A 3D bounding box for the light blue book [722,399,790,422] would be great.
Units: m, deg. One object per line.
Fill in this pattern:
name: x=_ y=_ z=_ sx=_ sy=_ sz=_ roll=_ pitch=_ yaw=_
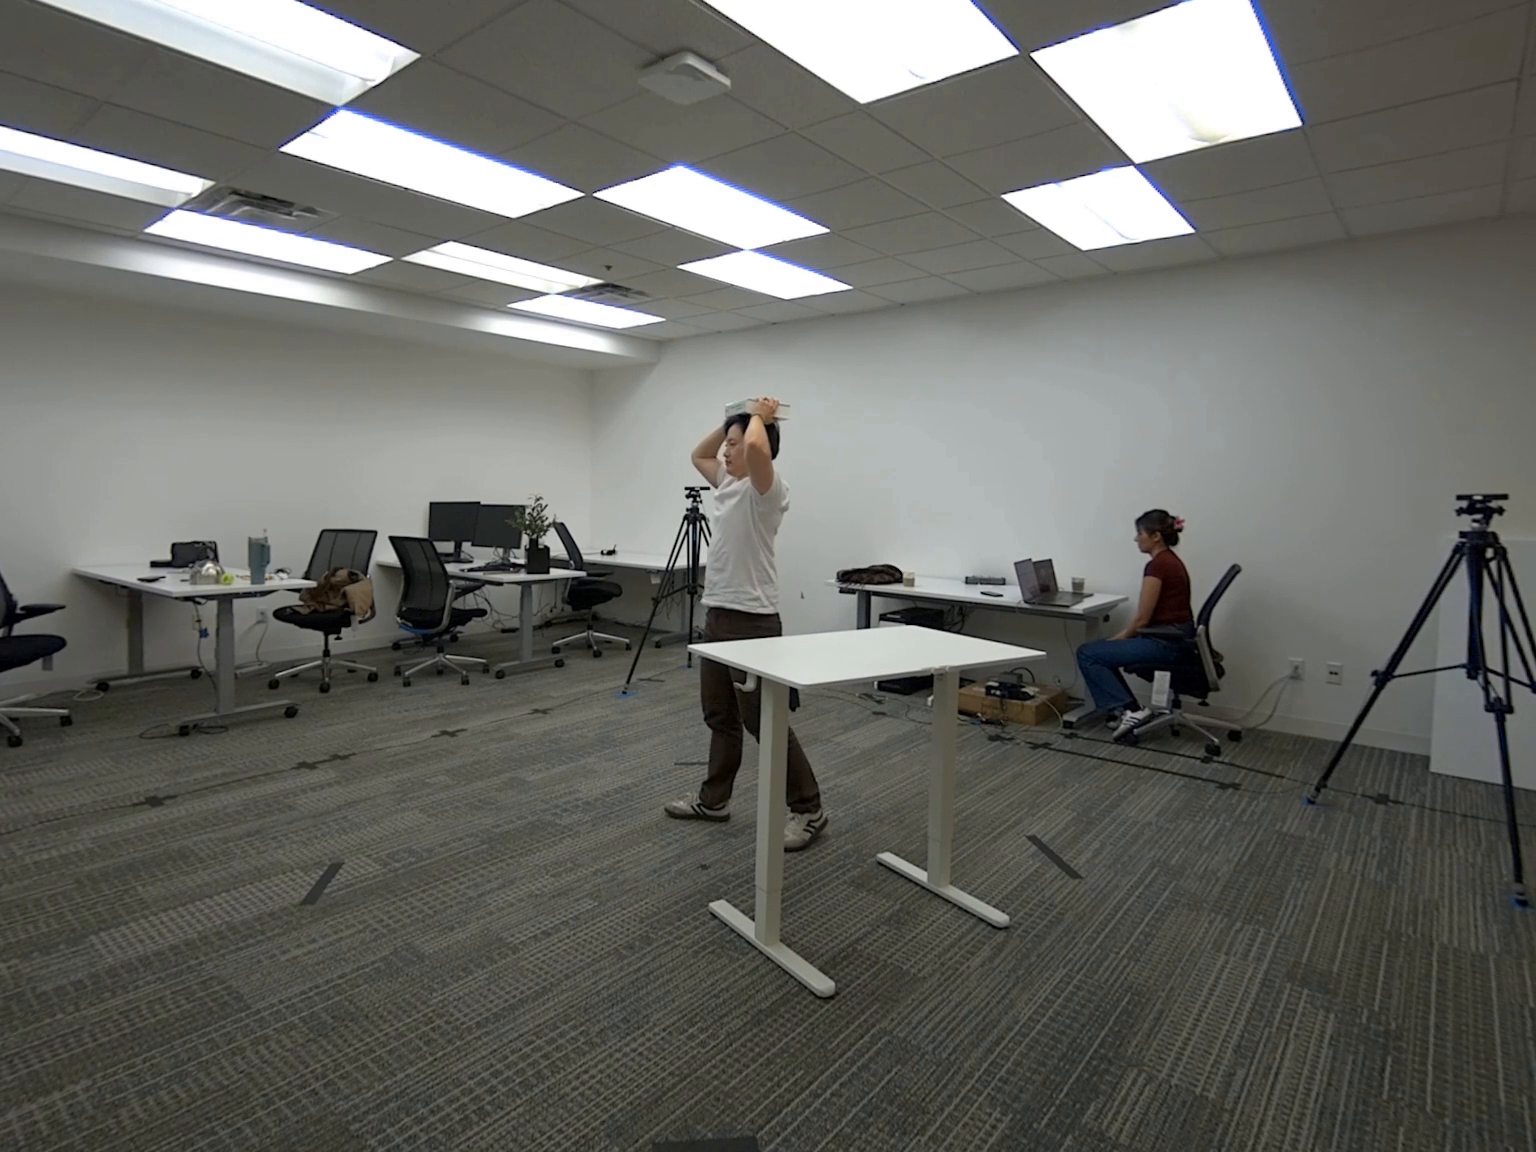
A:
light blue book: x=-0.055 y=-0.671 z=3.443 sx=0.188 sy=0.059 sz=0.267 roll=7 pitch=4 yaw=-18
